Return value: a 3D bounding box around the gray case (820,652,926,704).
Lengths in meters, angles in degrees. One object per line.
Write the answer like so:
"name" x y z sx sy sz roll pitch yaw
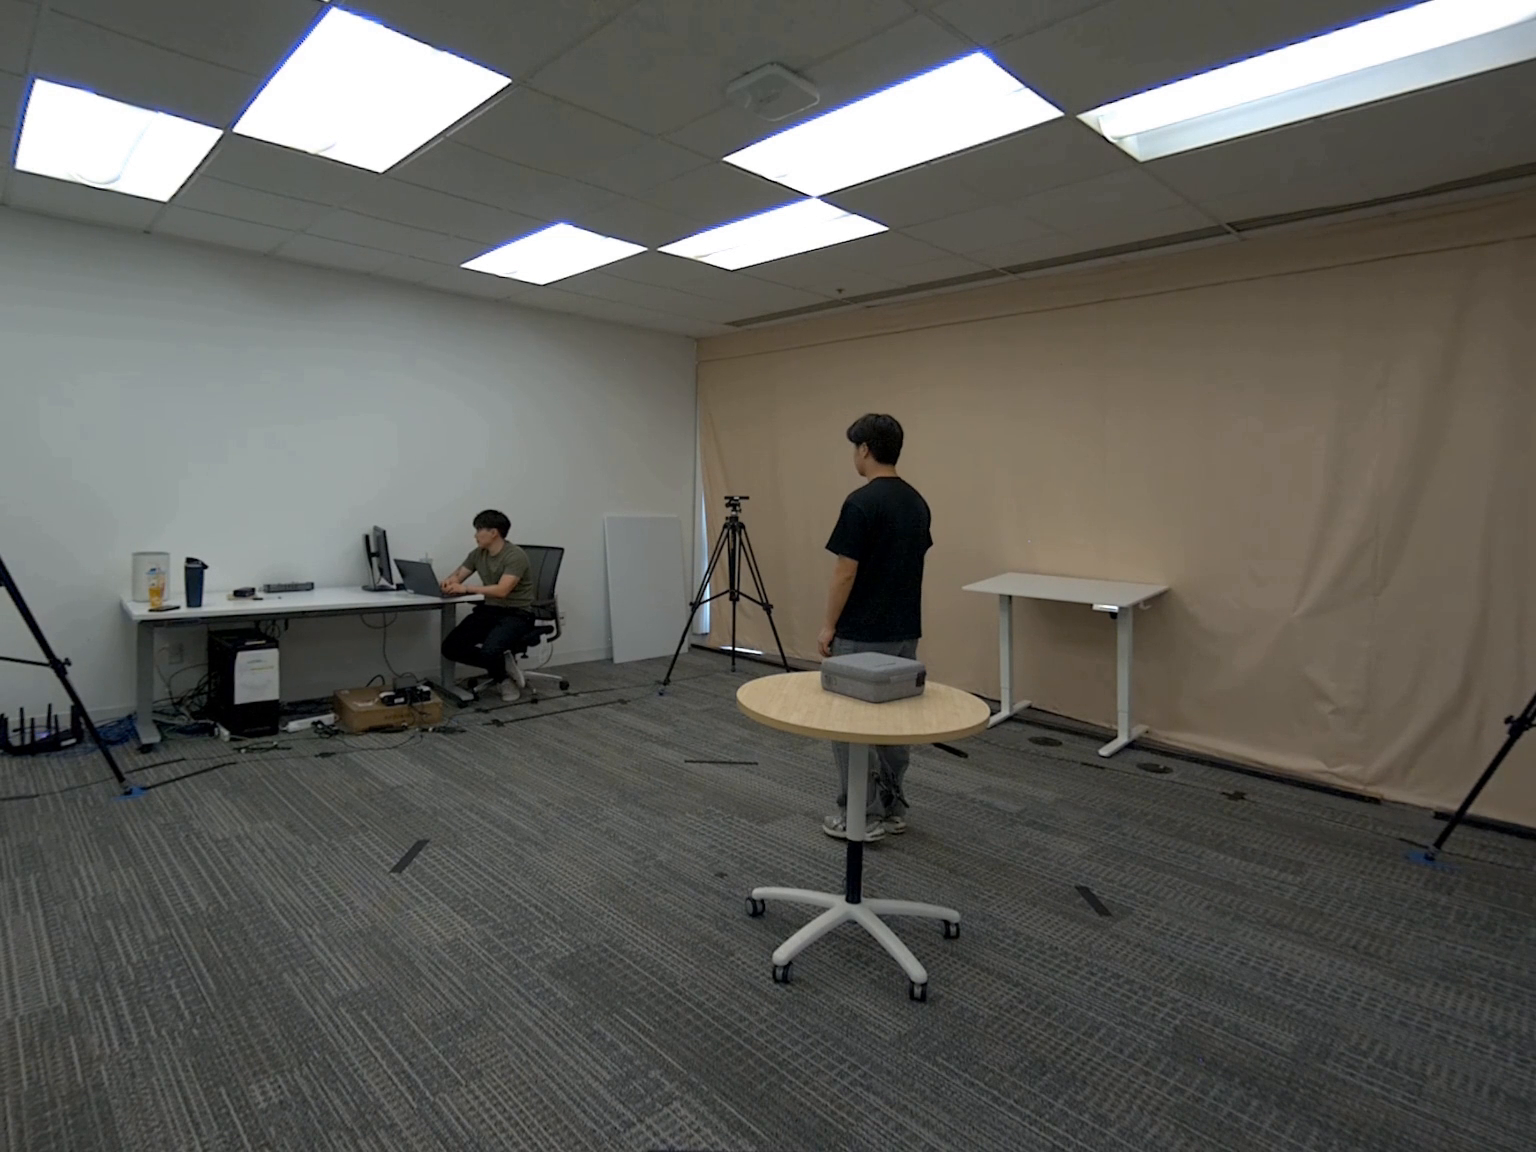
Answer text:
"gray case" 0.316 0.316 2.689 0.257 0.103 0.294 -2 5 -38
